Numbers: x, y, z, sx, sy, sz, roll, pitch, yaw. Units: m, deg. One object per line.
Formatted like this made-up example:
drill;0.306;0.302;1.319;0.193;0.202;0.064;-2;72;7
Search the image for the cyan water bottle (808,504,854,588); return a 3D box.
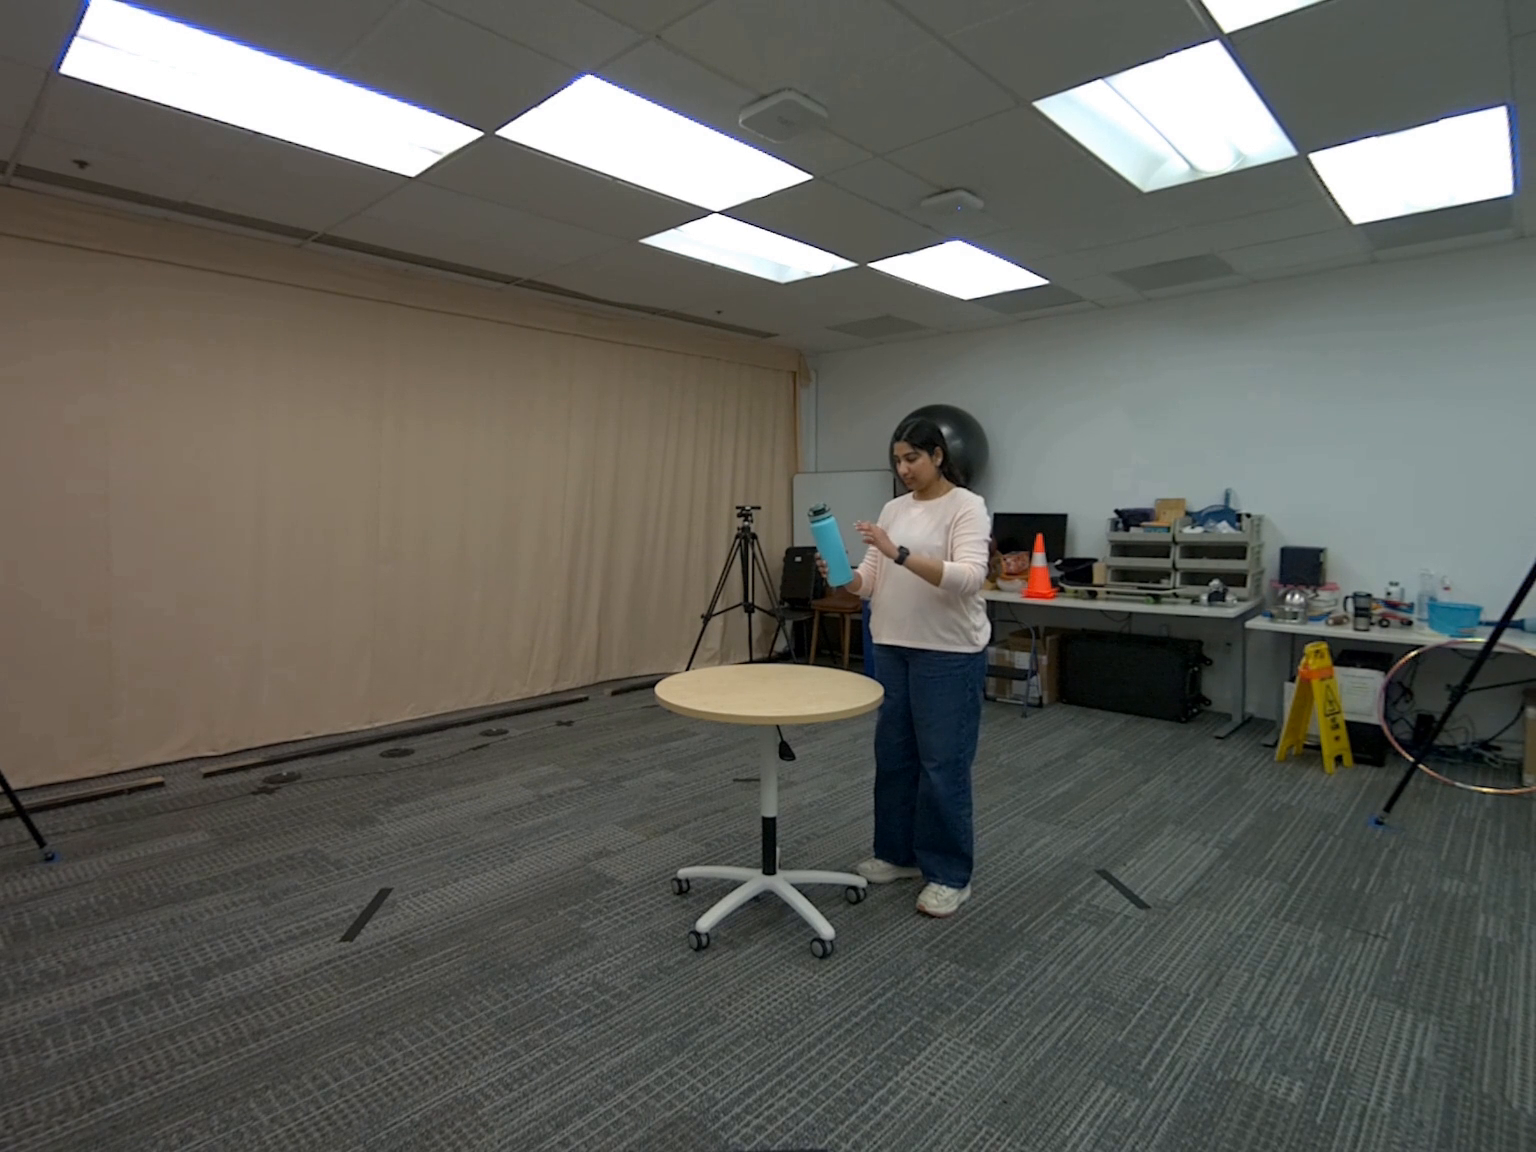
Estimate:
cyan water bottle;0.220;-0.112;2.862;0.092;0.282;0.093;-21;6;1
